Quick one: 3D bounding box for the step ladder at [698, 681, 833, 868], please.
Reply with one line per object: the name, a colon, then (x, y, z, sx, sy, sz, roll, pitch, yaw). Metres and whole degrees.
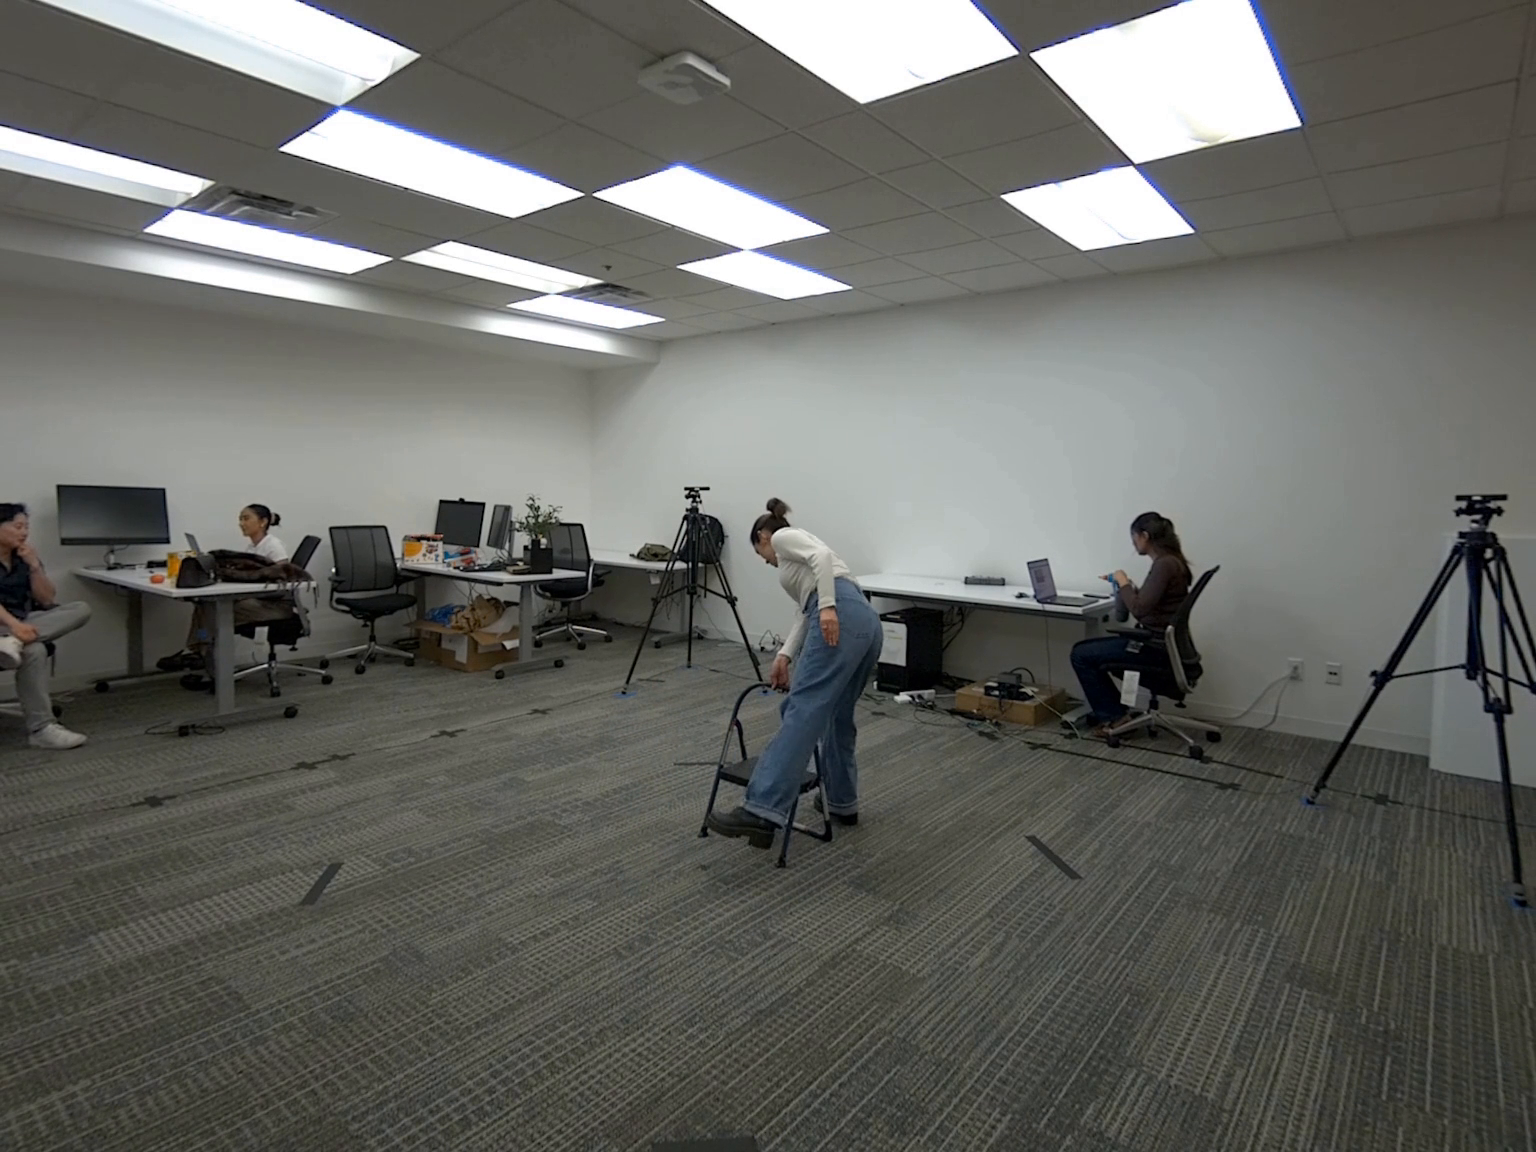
step ladder: (-0.009, 0.743, 3.372, 0.445, 0.604, 0.339, 4, 5, 39)
